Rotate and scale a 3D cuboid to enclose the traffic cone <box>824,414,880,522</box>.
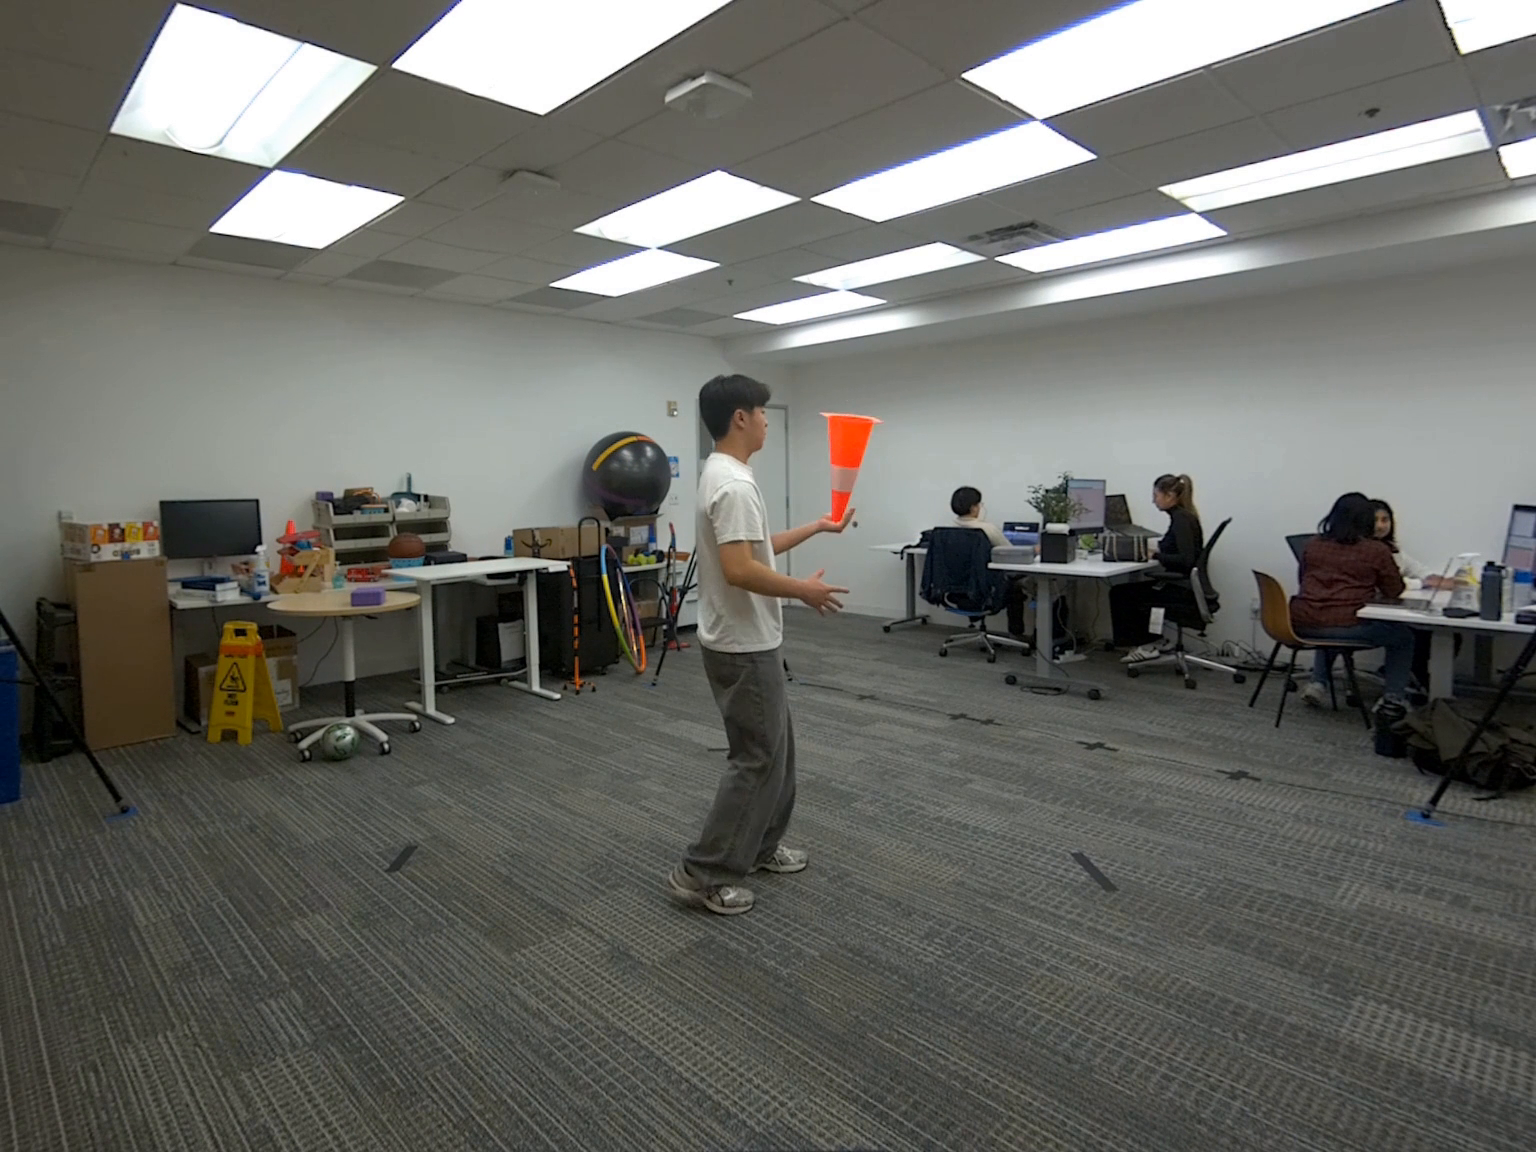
[{"bbox_3d":[0.279,-0.370,2.985,0.204,0.380,0.206,5,11,-6],"label":"traffic cone"}]
